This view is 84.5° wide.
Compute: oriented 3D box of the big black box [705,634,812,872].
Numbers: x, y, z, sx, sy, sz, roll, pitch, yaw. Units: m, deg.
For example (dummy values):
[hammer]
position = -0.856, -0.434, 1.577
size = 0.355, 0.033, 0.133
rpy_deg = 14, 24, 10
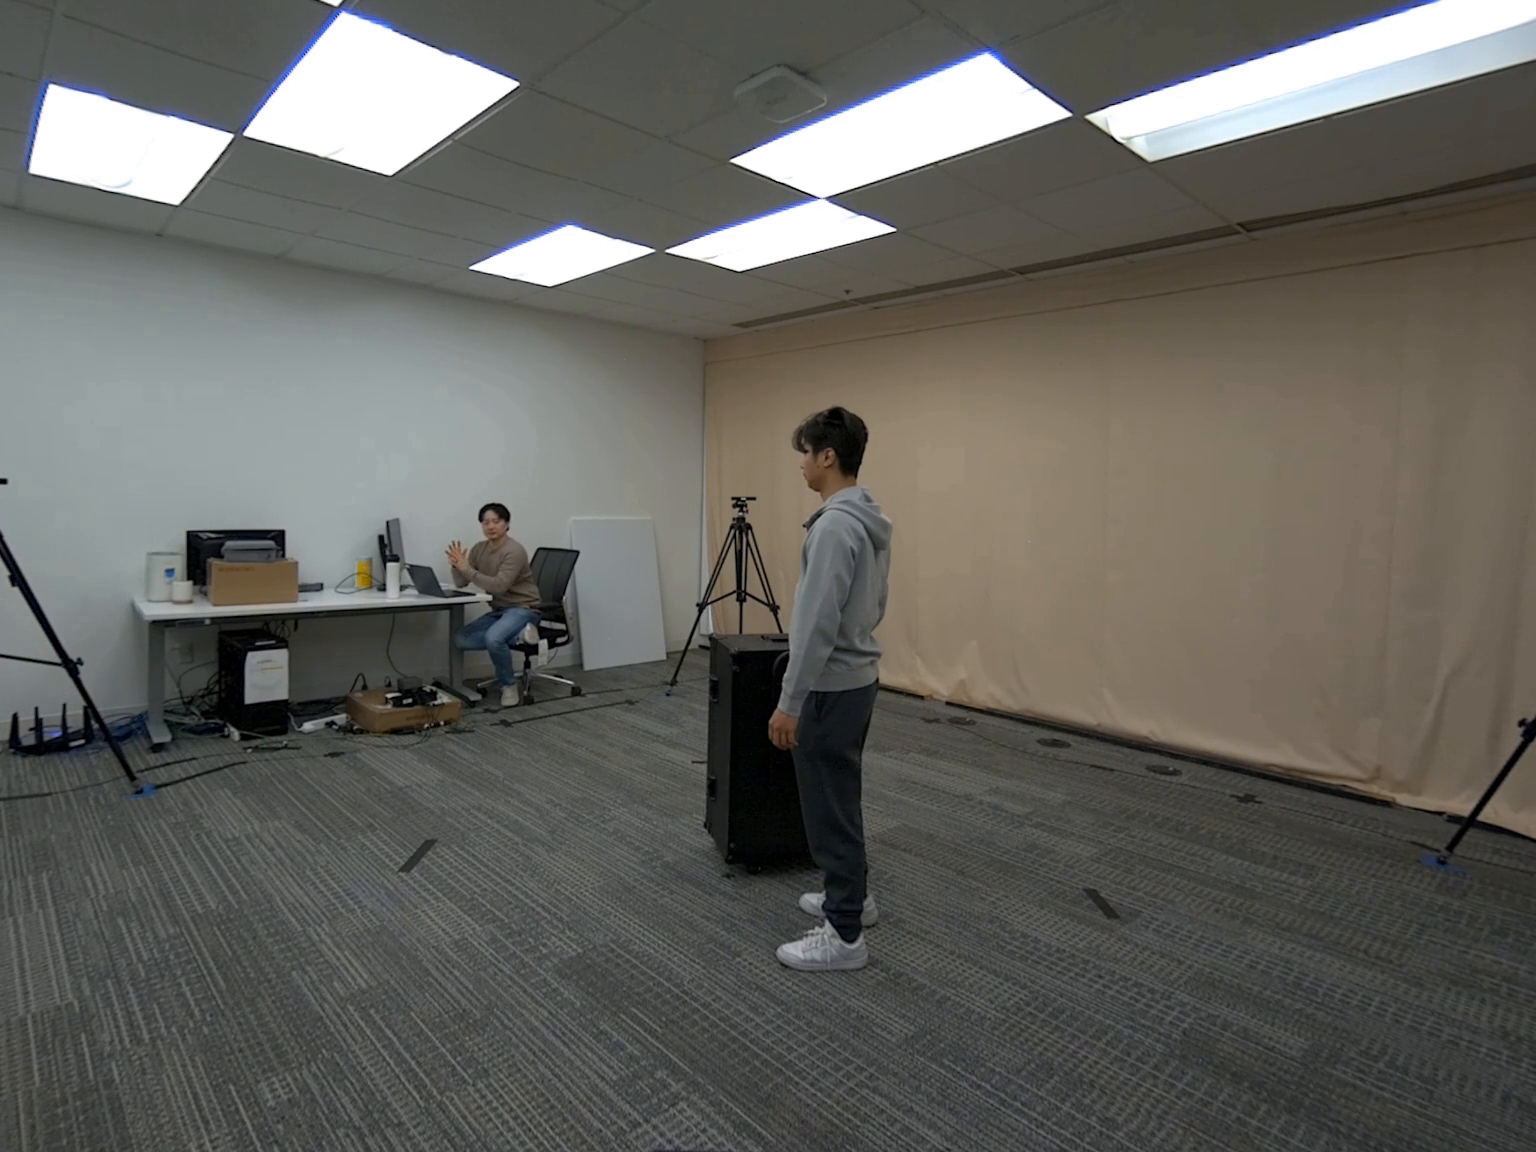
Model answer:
[big black box]
position = 0.040, 0.670, 3.243
size = 0.514, 0.859, 0.402
rpy_deg = 1, 4, -17
